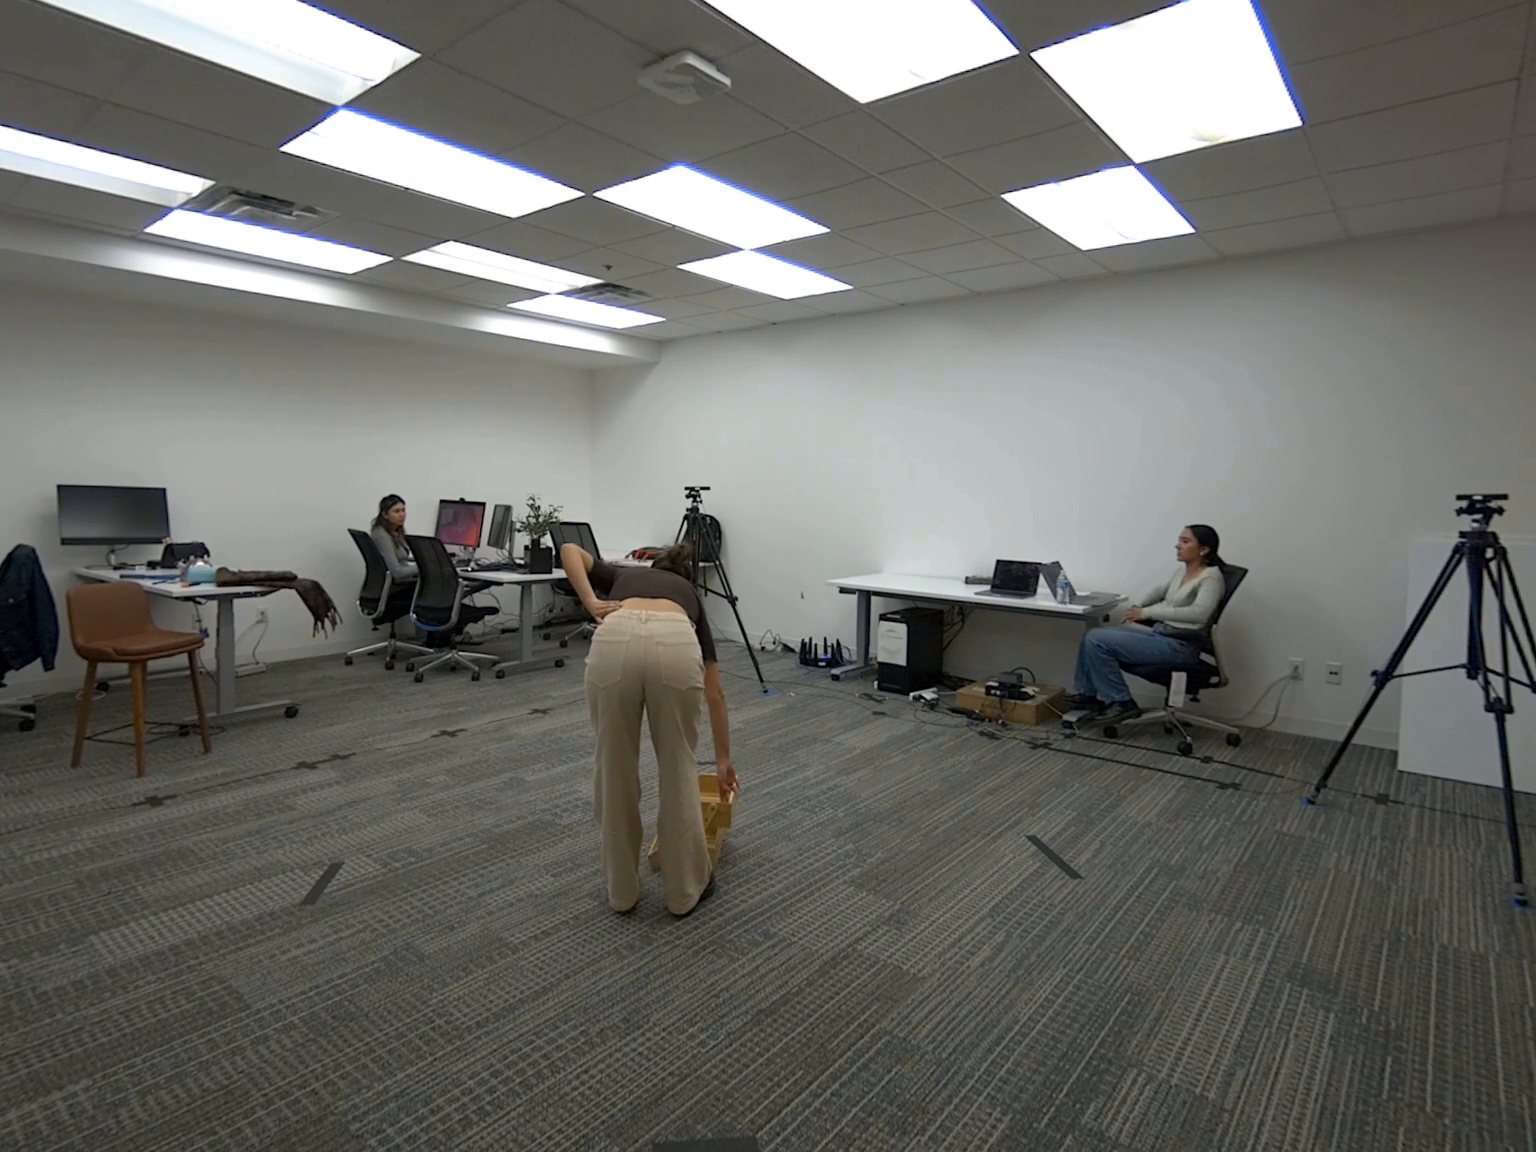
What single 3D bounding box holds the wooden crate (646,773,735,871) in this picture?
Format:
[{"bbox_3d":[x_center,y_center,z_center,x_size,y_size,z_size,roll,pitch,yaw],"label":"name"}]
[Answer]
[{"bbox_3d":[-0.300,0.917,3.219,0.303,0.272,0.325,1,5,2],"label":"wooden crate"}]
